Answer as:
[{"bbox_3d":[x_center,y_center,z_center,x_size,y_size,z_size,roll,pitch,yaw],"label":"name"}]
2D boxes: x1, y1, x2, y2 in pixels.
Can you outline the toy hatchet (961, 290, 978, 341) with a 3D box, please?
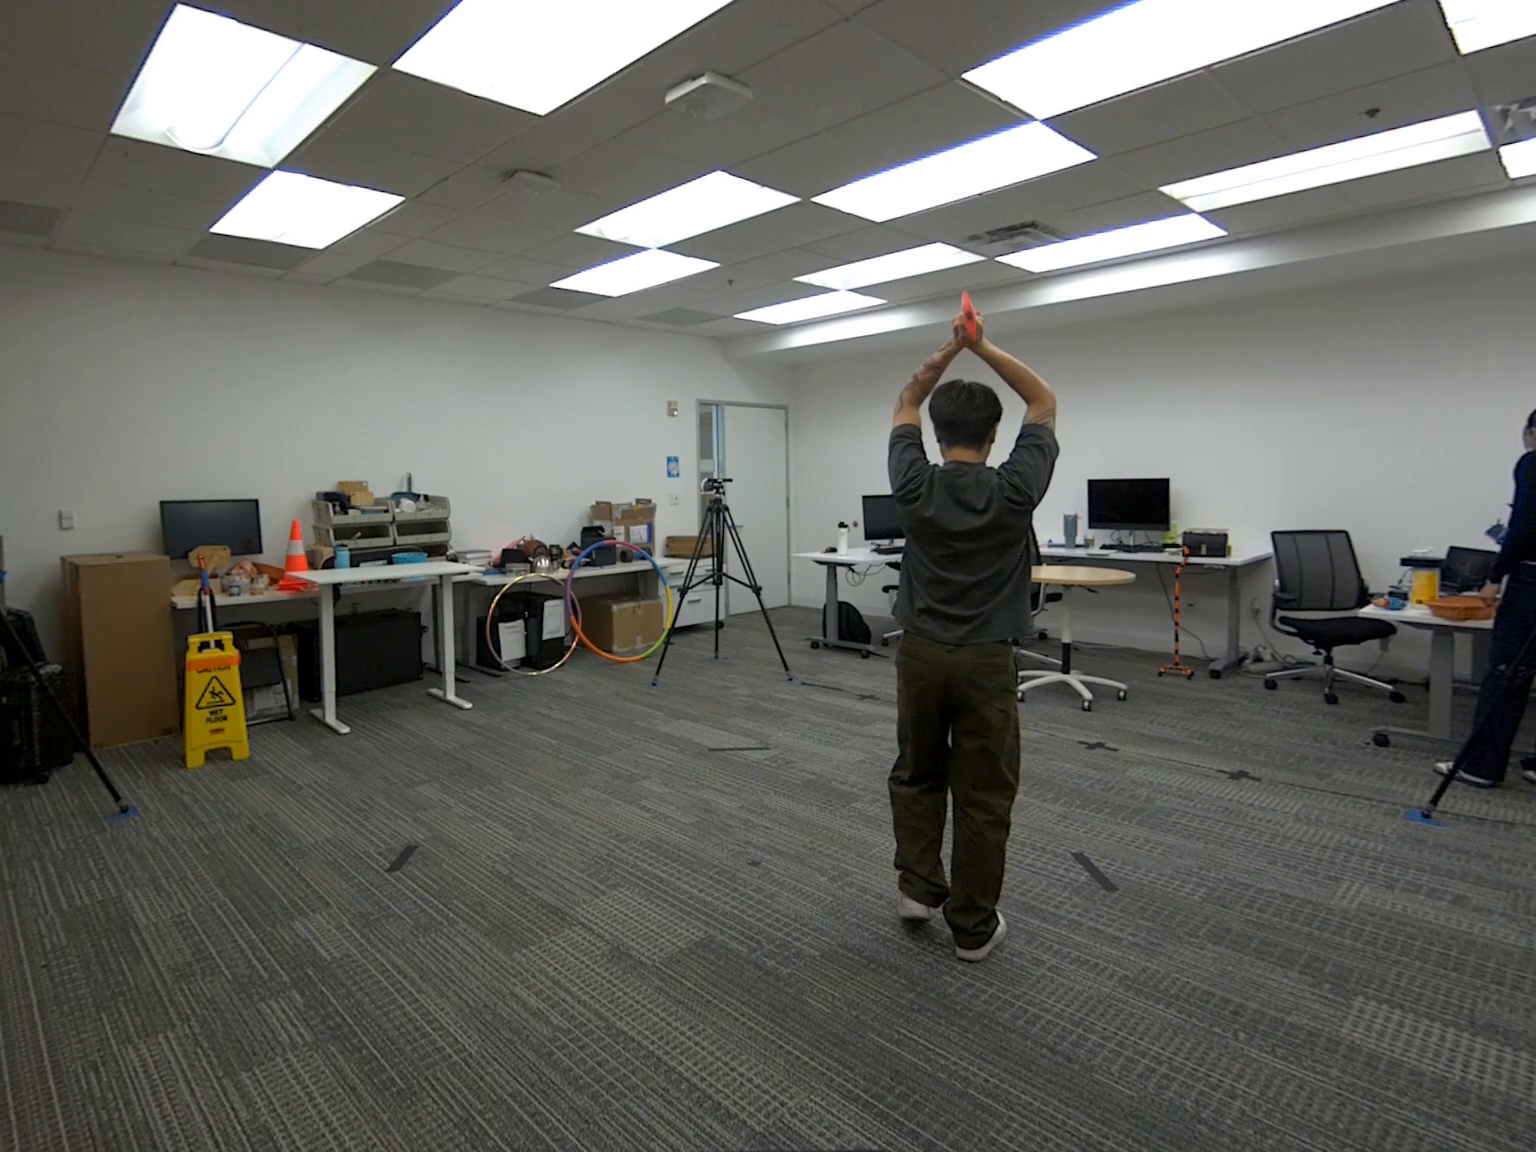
[{"bbox_3d":[0.555,-0.739,2.395,0.030,0.128,0.273,-10,21,11],"label":"toy hatchet"}]
